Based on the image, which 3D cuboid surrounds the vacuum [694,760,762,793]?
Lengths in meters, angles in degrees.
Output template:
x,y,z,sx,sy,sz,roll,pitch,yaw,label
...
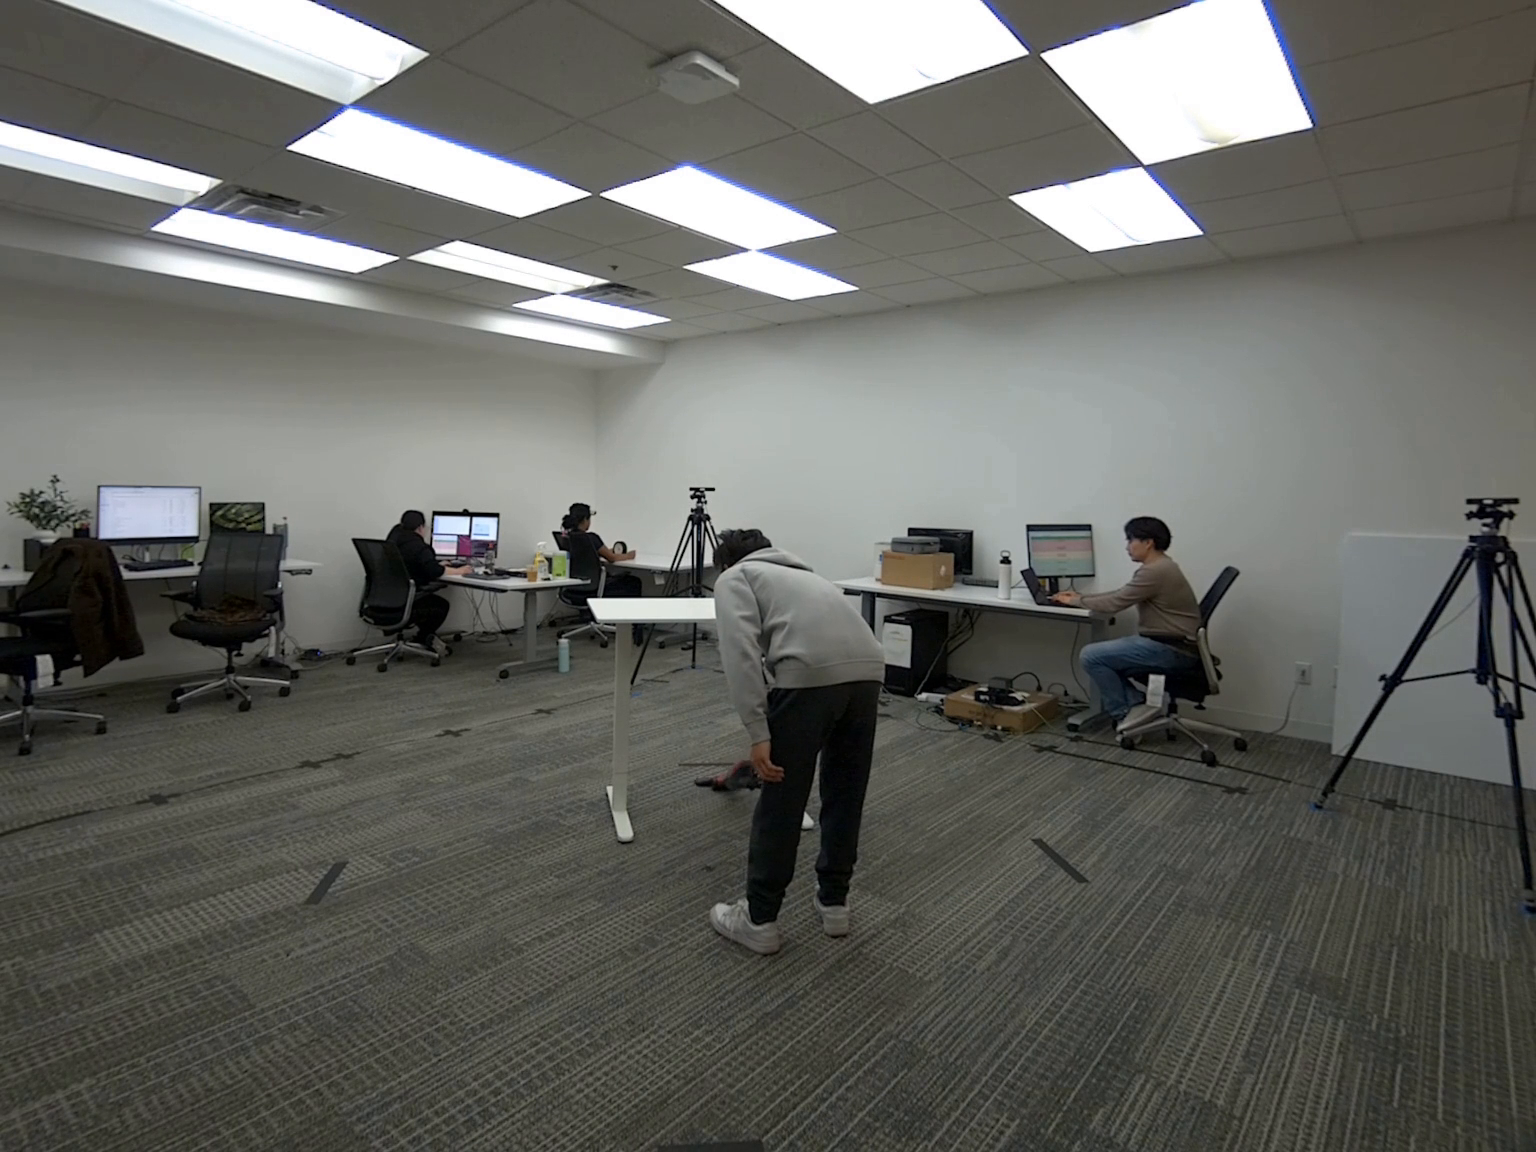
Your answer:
x,y,z,sx,sy,sz,roll,pitch,yaw,label
-0.050,0.814,3.506,0.248,0.146,1.050,-12,-11,-21,vacuum
